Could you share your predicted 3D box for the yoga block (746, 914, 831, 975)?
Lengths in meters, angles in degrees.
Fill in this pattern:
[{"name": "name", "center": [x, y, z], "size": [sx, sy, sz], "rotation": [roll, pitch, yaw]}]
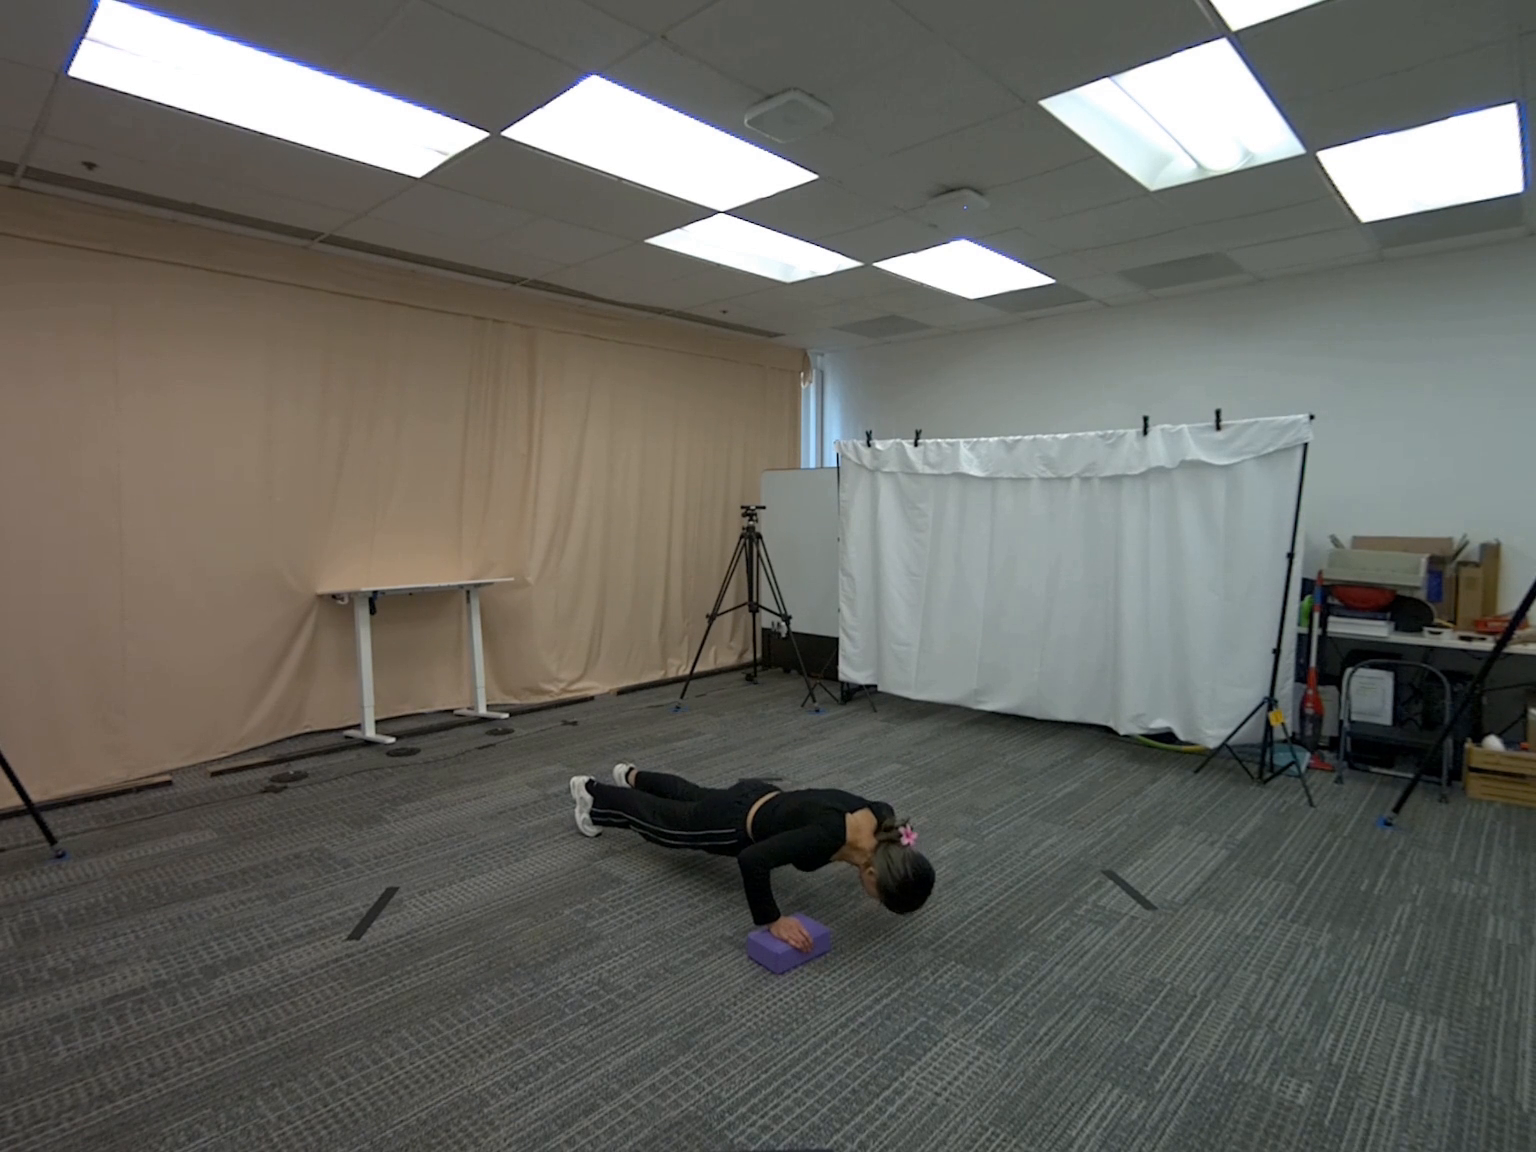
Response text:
[{"name": "yoga block", "center": [0.064, 1.135, 2.621], "size": [0.222, 0.076, 0.154], "rotation": [-5, 7, -41]}]
